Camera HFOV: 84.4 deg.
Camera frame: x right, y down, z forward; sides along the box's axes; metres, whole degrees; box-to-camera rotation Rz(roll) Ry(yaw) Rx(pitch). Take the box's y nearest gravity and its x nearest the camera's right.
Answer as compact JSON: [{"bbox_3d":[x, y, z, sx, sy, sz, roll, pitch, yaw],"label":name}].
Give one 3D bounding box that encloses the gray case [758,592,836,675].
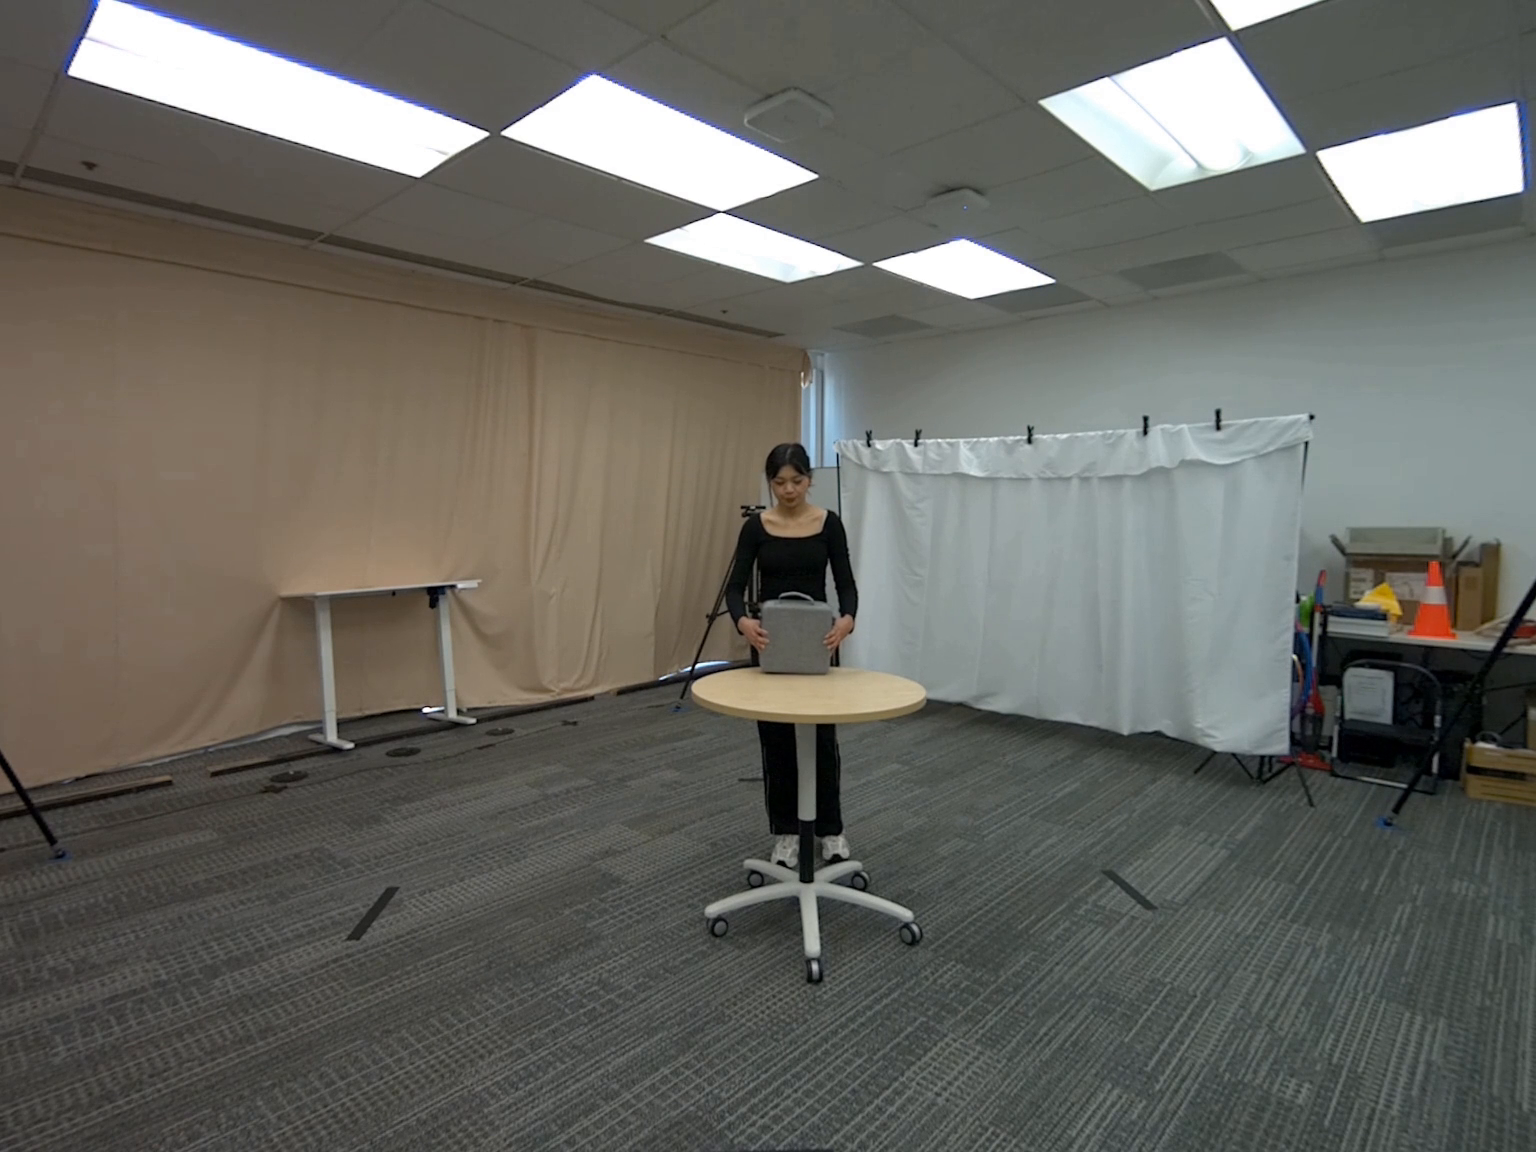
[{"bbox_3d":[0.107,0.216,3.011,0.258,0.259,0.104,1,8,3],"label":"gray case"}]
